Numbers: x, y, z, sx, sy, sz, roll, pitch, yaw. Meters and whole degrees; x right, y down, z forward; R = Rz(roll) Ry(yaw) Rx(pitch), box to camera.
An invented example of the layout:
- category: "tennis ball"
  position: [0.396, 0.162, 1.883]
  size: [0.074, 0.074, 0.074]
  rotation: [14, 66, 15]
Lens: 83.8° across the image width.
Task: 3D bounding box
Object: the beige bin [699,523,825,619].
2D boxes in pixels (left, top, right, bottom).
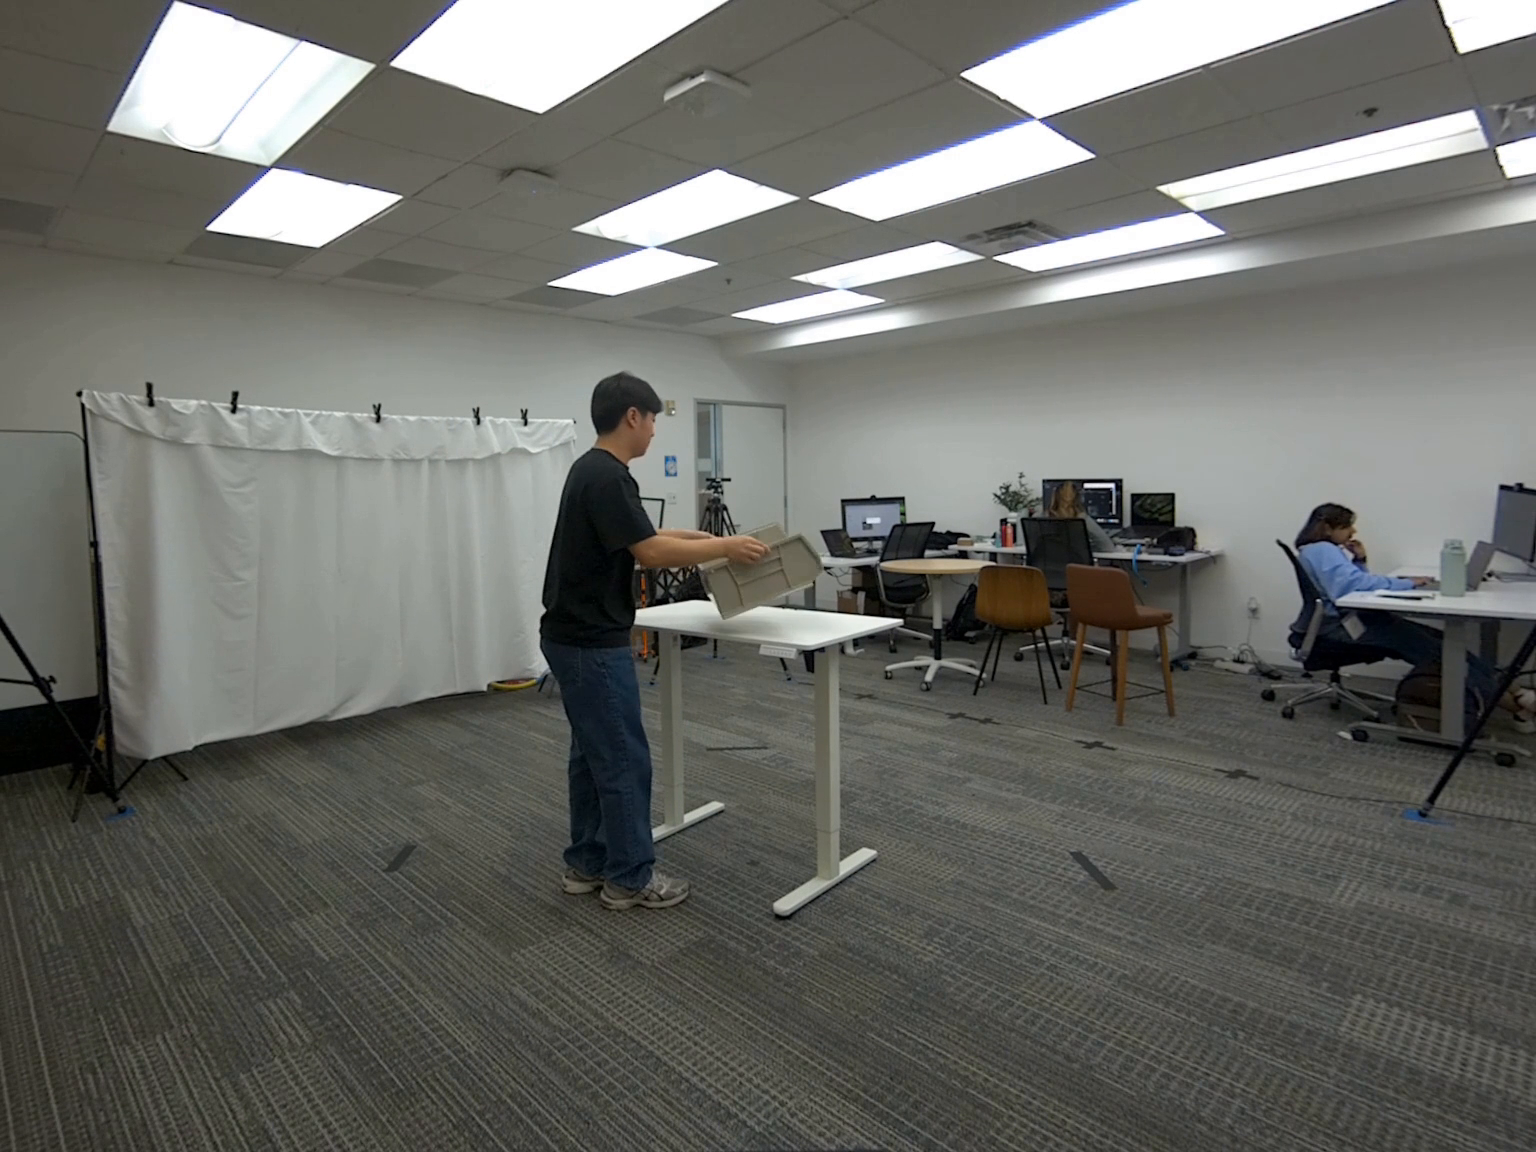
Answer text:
- category: "beige bin"
  position: [-0.046, -0.036, 2.937]
  size: [0.376, 0.187, 0.429]
  rotation: [-21, 11, -6]
